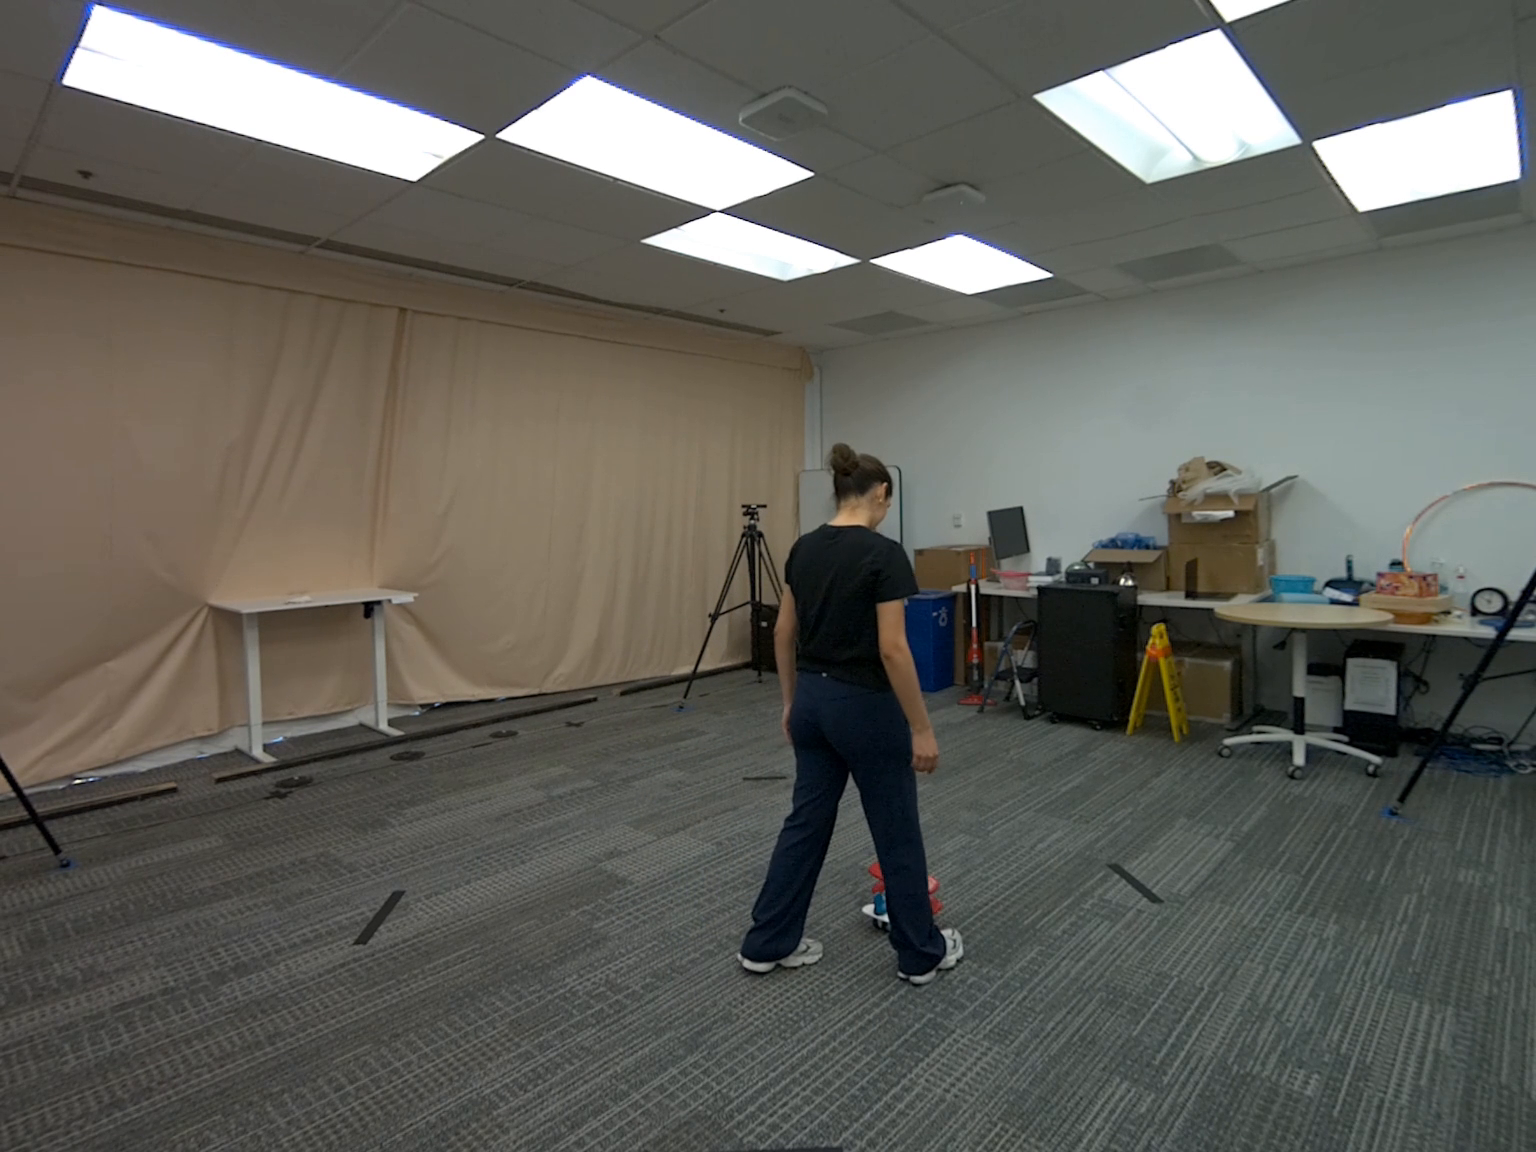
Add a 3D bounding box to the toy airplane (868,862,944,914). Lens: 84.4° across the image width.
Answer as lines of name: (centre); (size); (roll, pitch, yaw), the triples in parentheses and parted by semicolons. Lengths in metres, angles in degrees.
toy airplane: (0.480, 1.078, 2.794); (0.256, 0.156, 0.255); (1, 4, 17)
